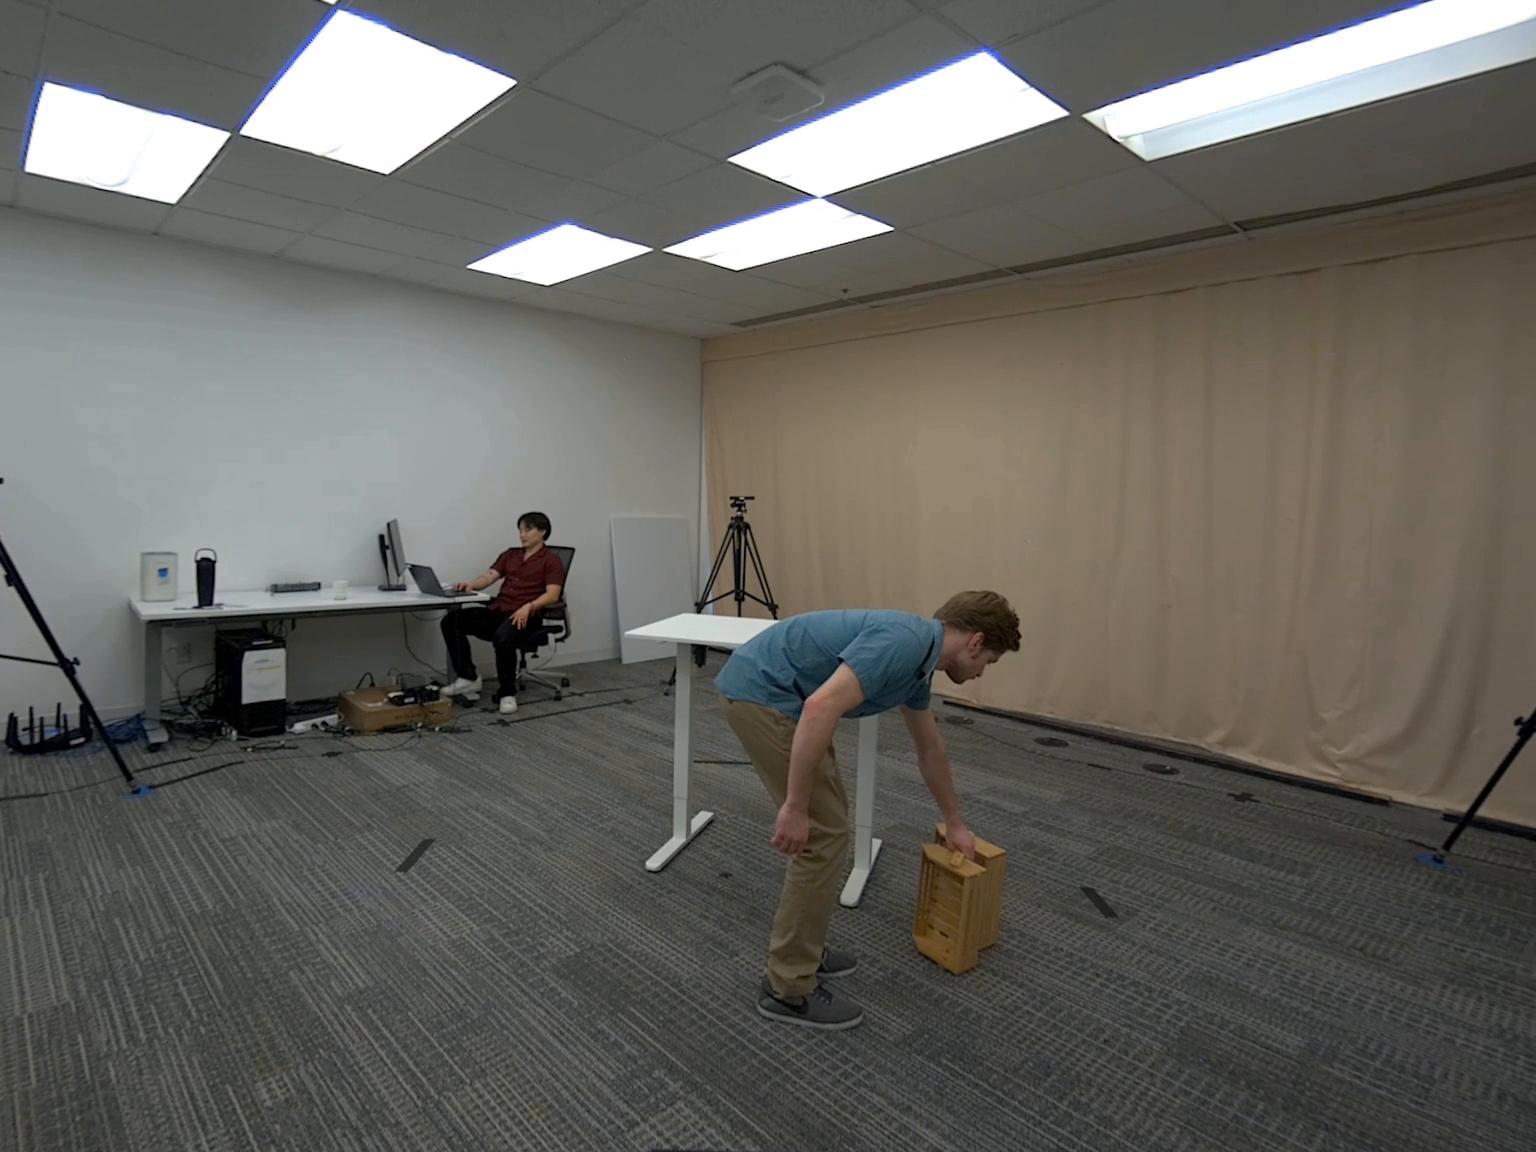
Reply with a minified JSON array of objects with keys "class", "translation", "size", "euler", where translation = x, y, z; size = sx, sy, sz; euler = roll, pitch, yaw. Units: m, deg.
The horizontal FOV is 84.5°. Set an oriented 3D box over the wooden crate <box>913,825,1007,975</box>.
[{"class":"wooden crate","translation":[0.564,0.997,2.646],"size":[0.267,0.323,0.310],"euler":[0,7,-40]}]
